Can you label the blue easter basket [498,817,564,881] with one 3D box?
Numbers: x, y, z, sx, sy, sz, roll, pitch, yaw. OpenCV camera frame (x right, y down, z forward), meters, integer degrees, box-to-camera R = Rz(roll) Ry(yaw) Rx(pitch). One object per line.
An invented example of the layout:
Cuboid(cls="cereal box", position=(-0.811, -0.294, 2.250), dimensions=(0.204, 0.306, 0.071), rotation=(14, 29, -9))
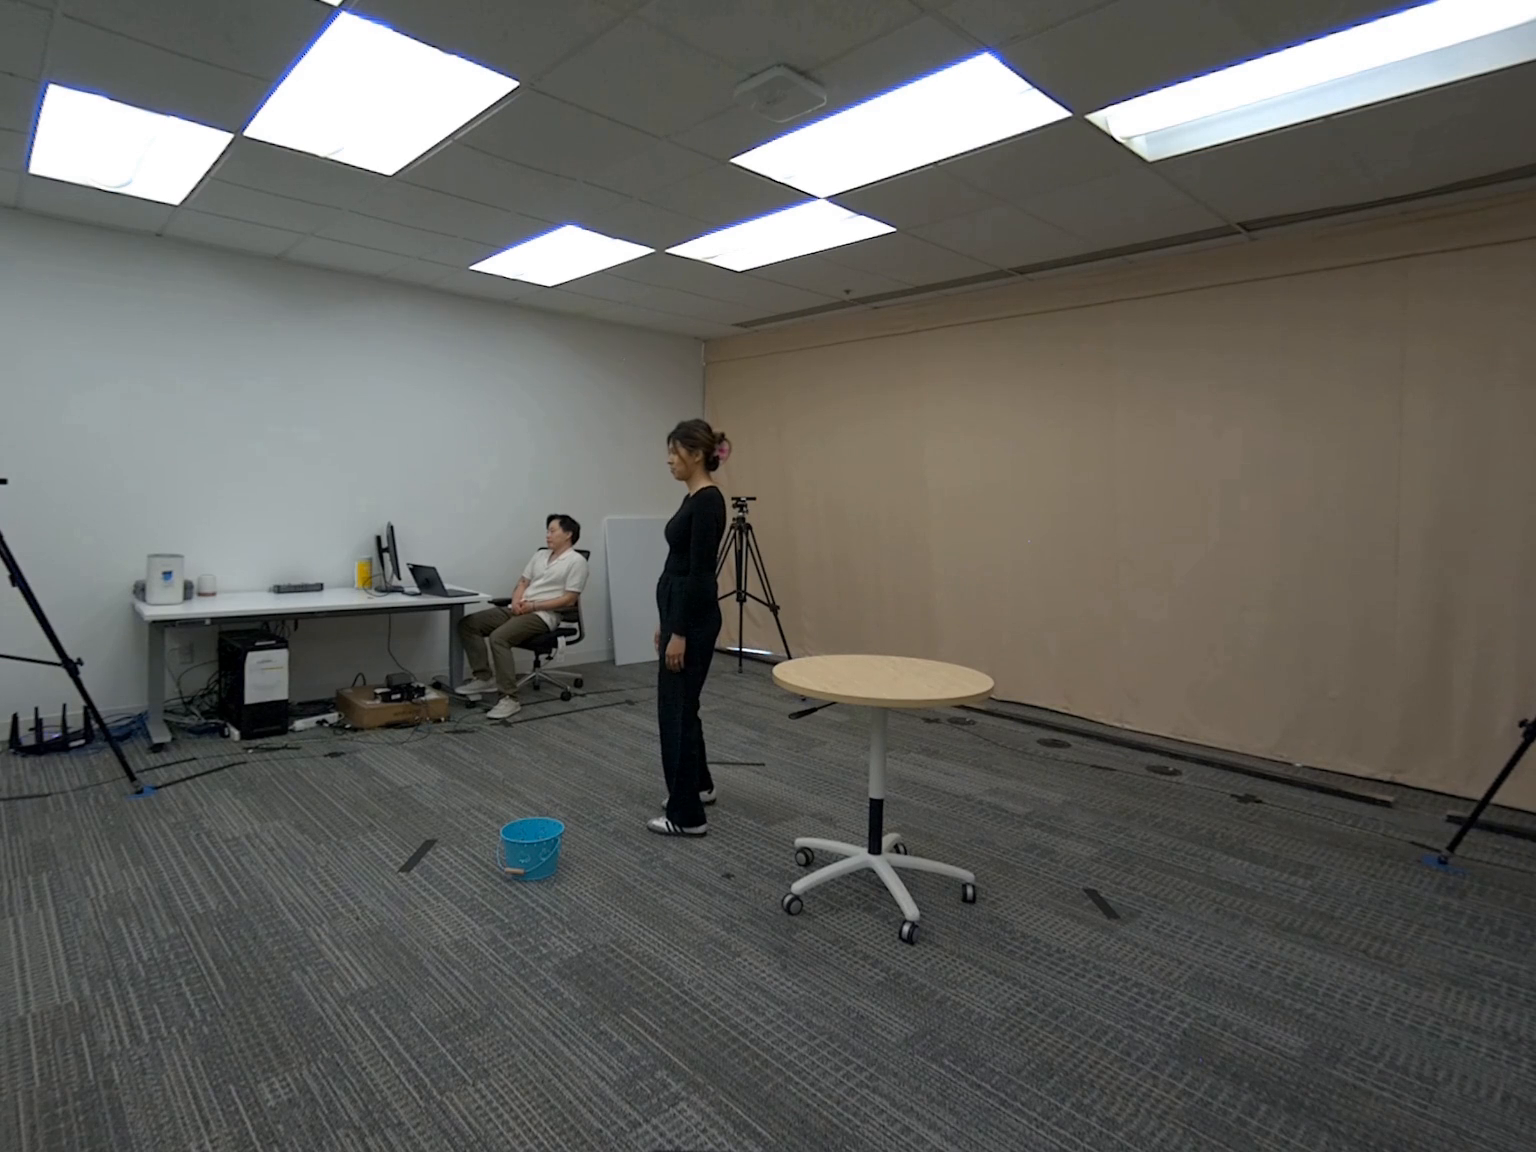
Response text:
Cuboid(cls="blue easter basket", position=(-0.882, 1.012, 3.111), dimensions=(0.243, 0.155, 0.244), rotation=(1, 4, -1))
